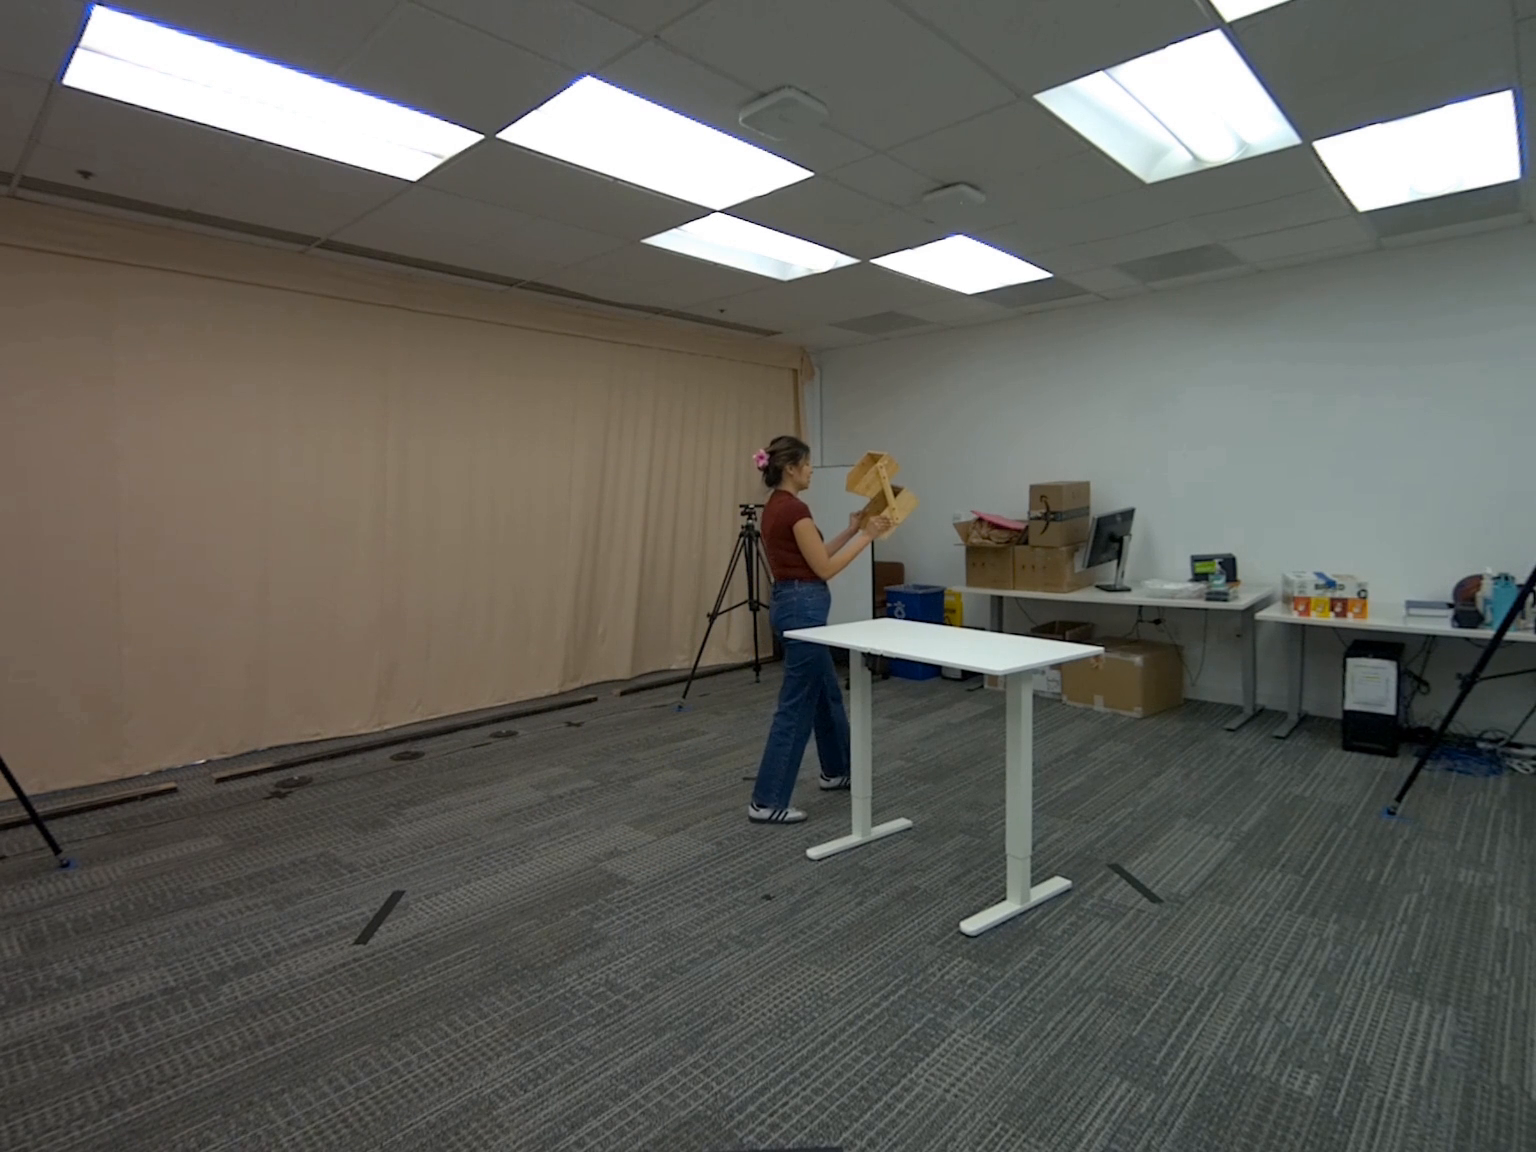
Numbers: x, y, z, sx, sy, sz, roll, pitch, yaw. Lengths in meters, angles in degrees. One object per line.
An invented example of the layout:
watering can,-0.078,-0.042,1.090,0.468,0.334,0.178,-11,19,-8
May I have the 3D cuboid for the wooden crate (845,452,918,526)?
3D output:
wooden crate,0.484,-0.368,3.828,0.270,0.302,0.329,43,2,-12
